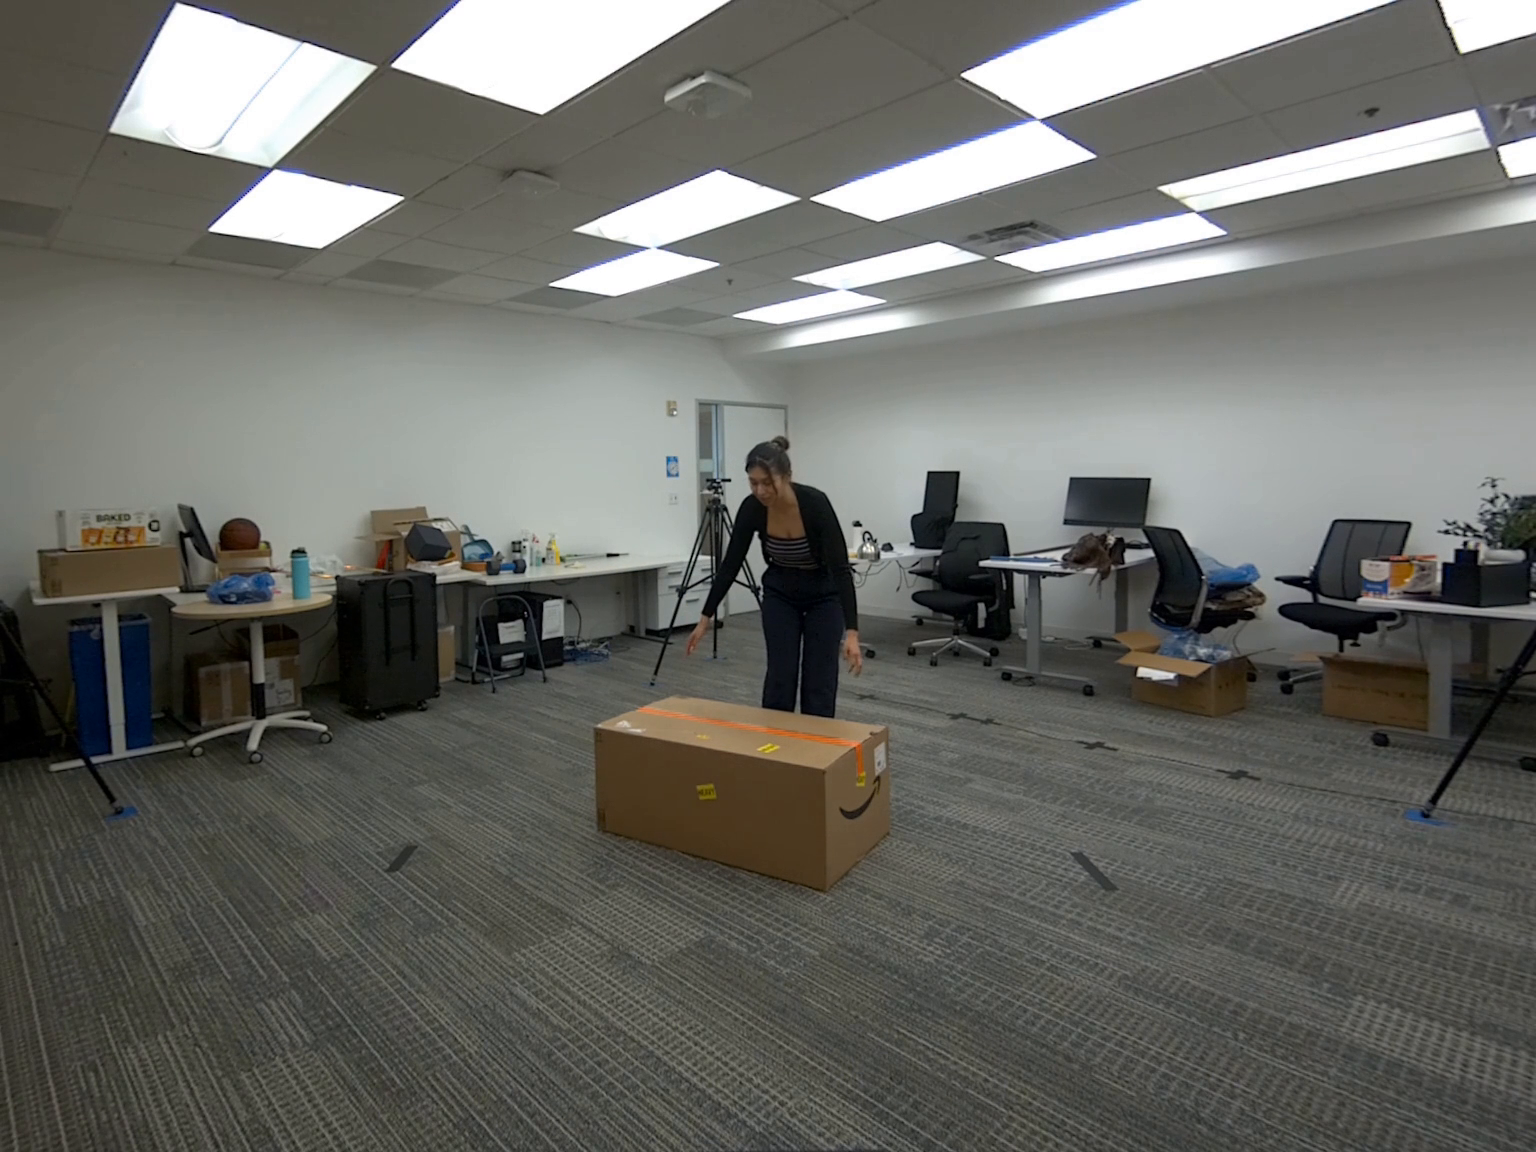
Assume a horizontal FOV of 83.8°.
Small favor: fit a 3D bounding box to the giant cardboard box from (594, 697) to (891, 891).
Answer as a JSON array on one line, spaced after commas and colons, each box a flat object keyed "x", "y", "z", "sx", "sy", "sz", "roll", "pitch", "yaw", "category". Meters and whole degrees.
[{"x": -0.108, "y": 0.802, "z": 3.375, "sx": 1.054, "sy": 0.425, "sz": 0.564, "roll": 3, "pitch": 5, "yaw": 31, "category": "giant cardboard box"}]
